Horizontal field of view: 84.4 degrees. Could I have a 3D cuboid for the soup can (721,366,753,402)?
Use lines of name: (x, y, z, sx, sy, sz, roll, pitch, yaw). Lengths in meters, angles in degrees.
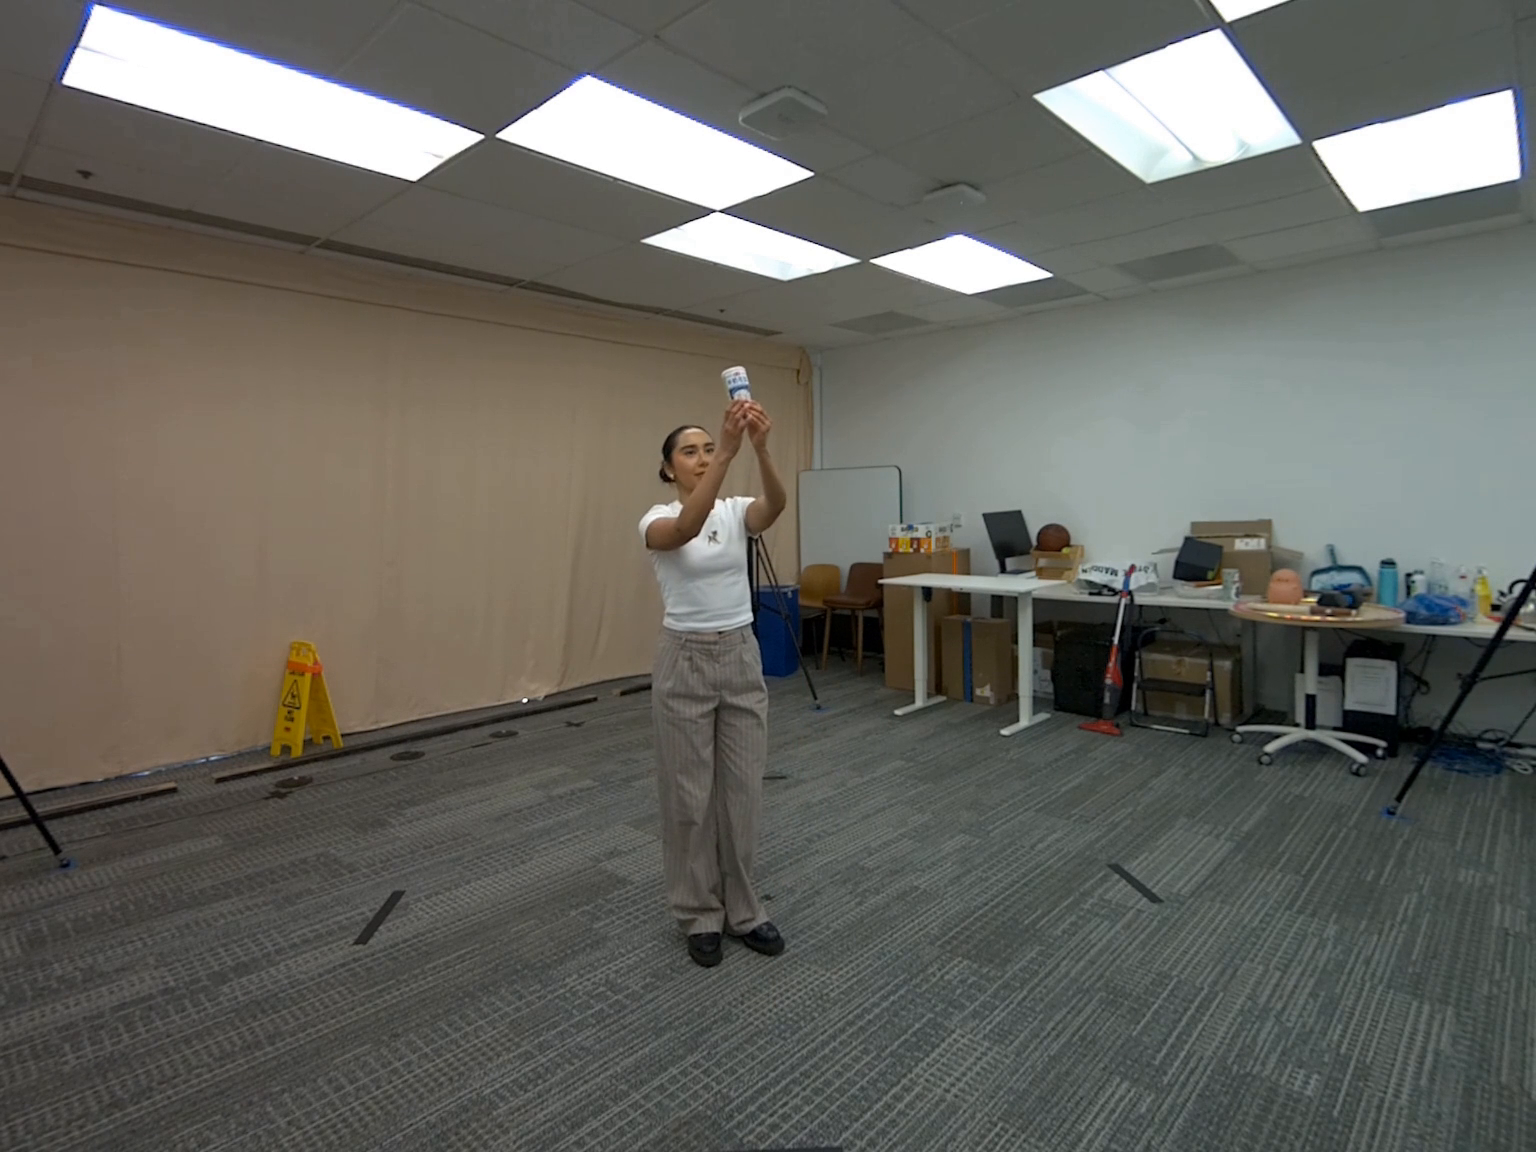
soup can: (-0.076, -0.498, 2.259, 0.067, 0.122, 0.067, -12, -2, -2)
